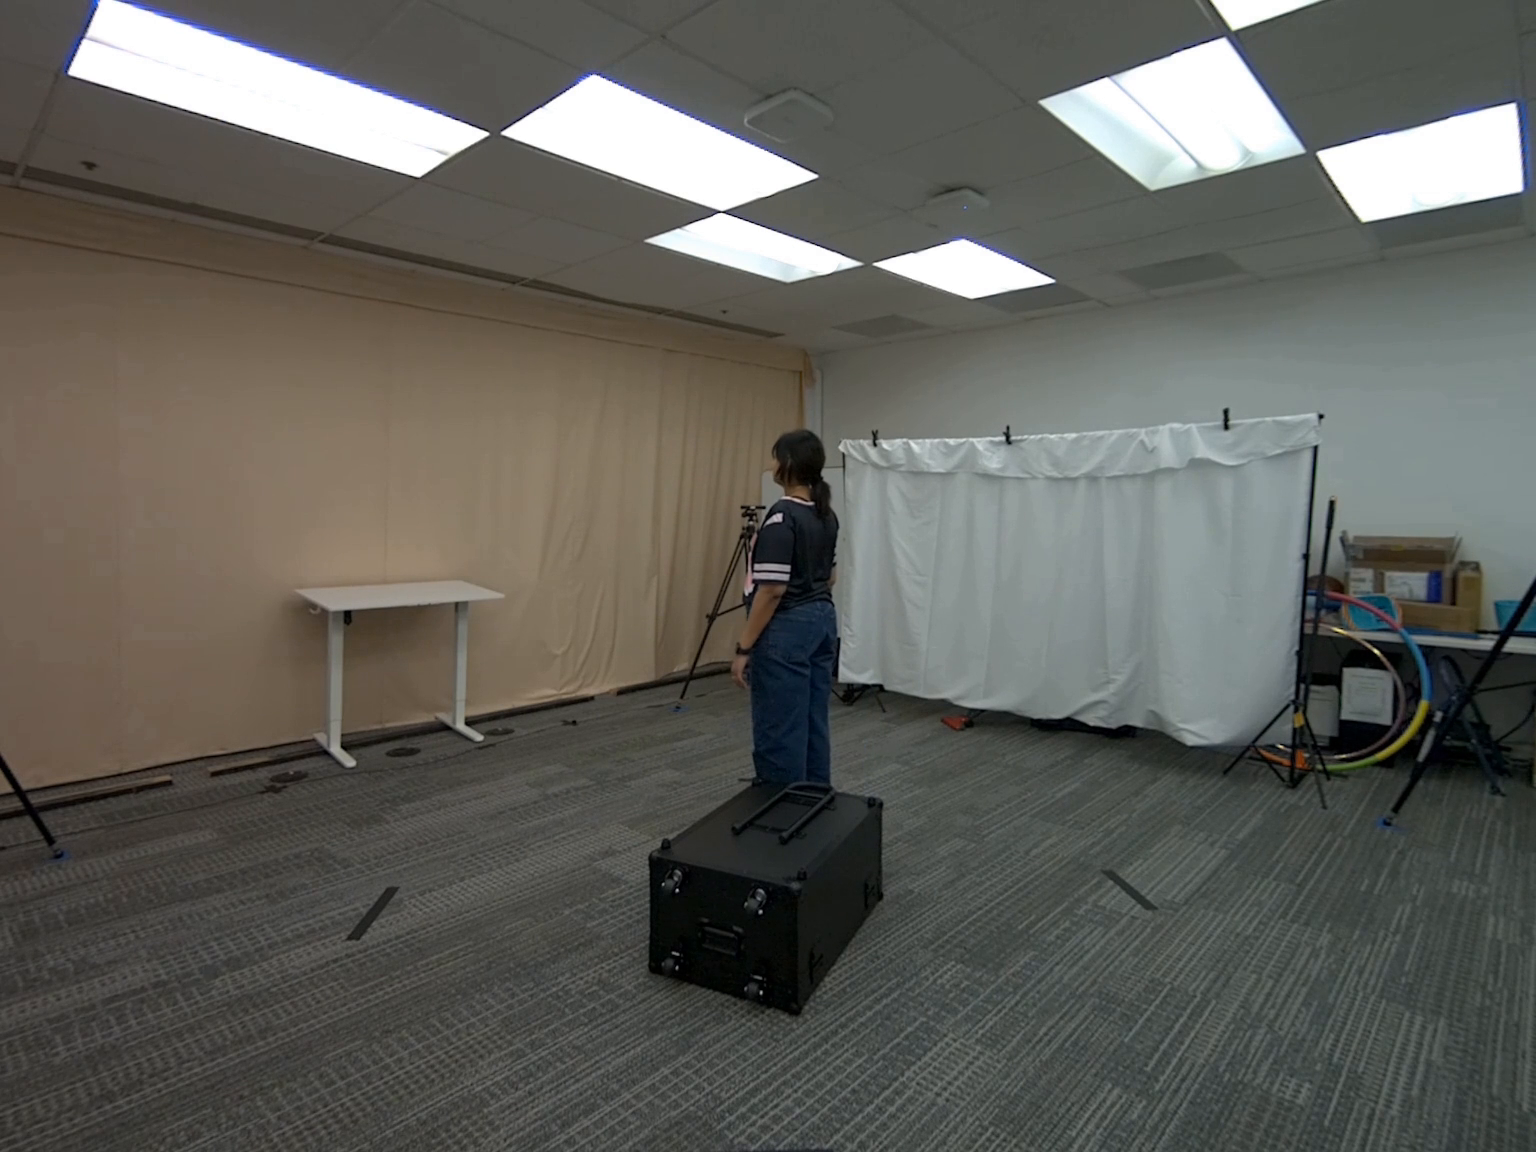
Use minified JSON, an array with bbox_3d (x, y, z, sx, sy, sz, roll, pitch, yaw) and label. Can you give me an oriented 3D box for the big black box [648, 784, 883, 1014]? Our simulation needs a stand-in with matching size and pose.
[{"bbox_3d":[0.019,0.980,2.703,0.537,0.384,0.848,3,6,25],"label":"big black box"}]
